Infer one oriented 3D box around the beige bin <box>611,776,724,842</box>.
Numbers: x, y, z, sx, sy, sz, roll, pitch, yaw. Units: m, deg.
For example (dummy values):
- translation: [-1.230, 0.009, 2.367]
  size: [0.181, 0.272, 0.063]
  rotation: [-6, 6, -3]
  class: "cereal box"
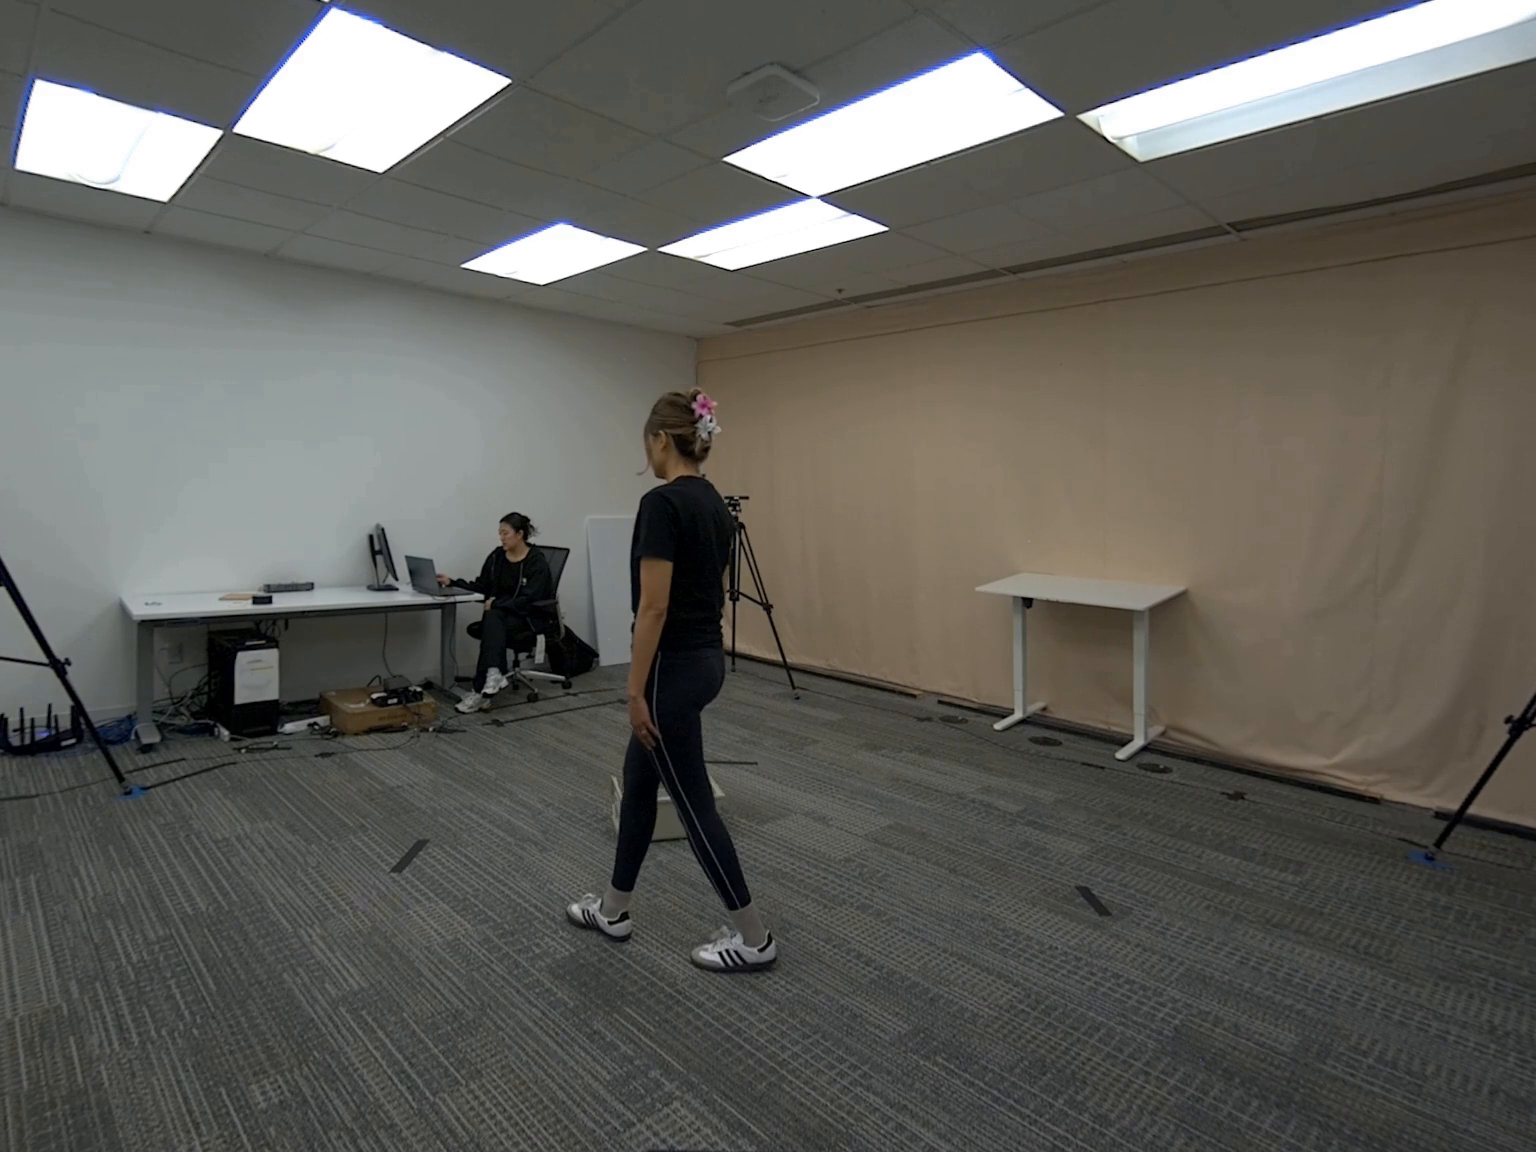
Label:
- translation: [-0.446, 0.973, 3.568]
  size: [0.417, 0.188, 0.383]
  rotation: [0, 6, -17]
  class: "beige bin"
